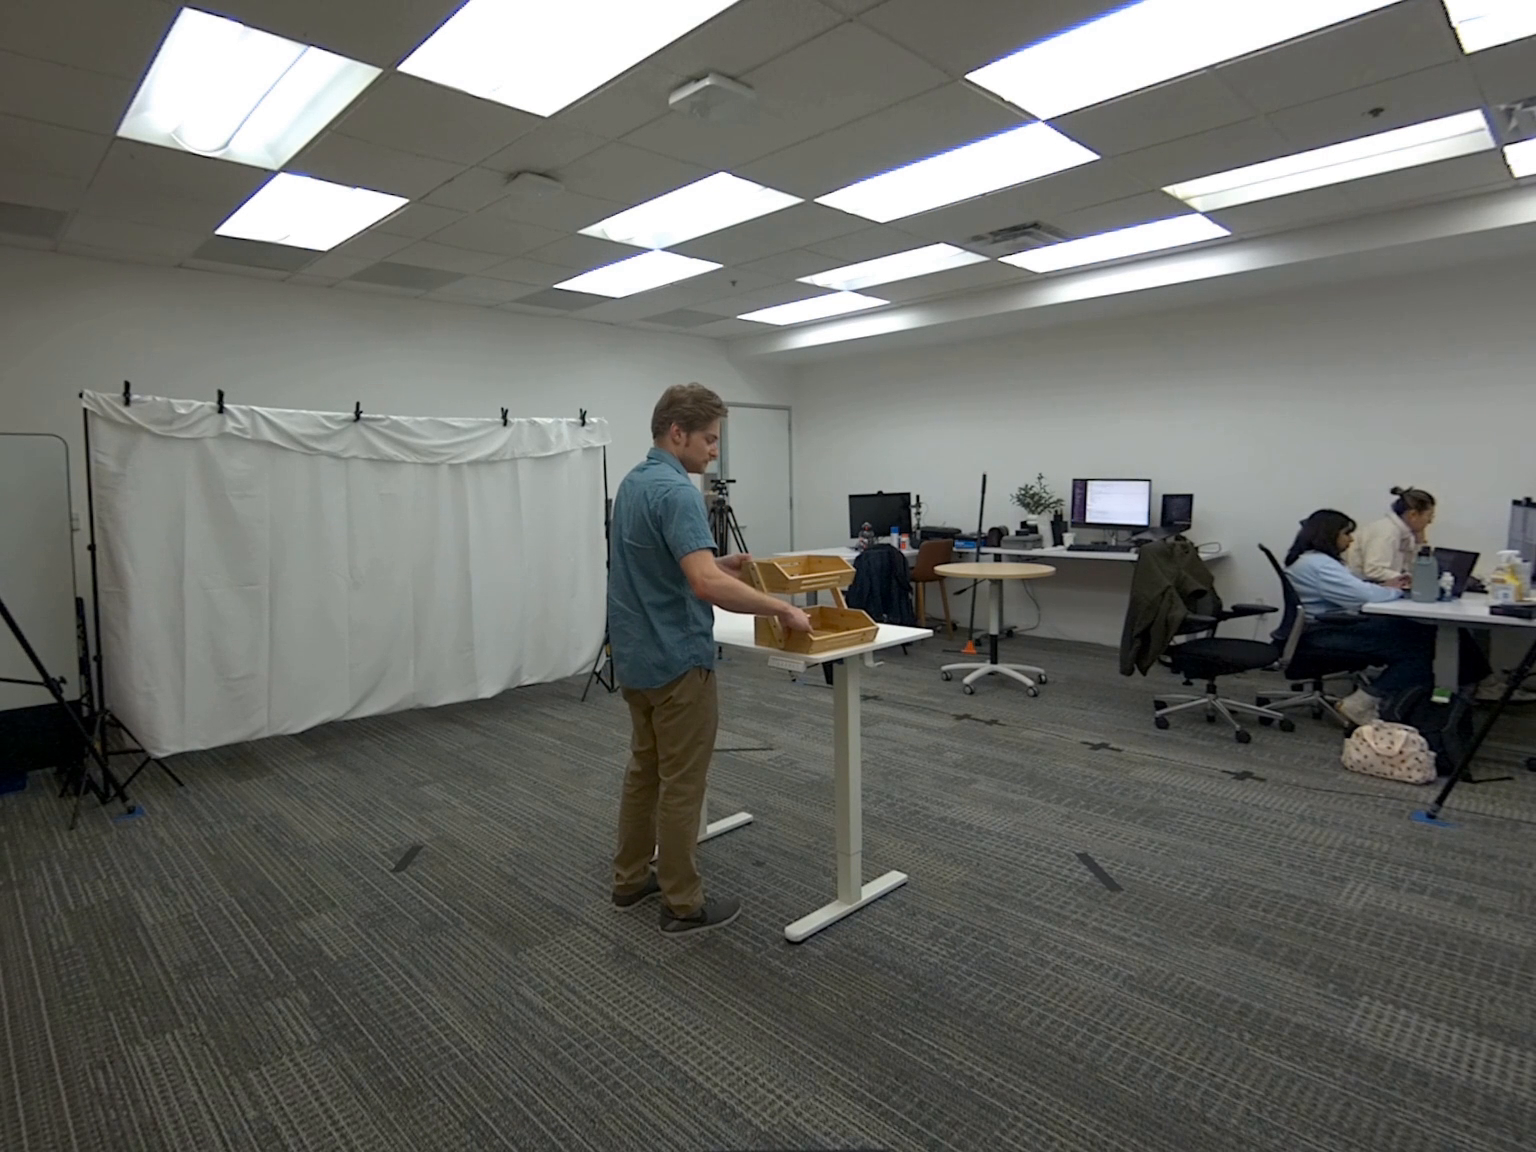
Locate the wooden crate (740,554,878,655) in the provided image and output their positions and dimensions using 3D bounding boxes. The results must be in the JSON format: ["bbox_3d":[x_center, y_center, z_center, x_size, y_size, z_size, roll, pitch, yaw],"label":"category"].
[{"bbox_3d":[0.135,0.074,2.662,0.316,0.272,0.311,-6,6,-43],"label":"wooden crate"}]
